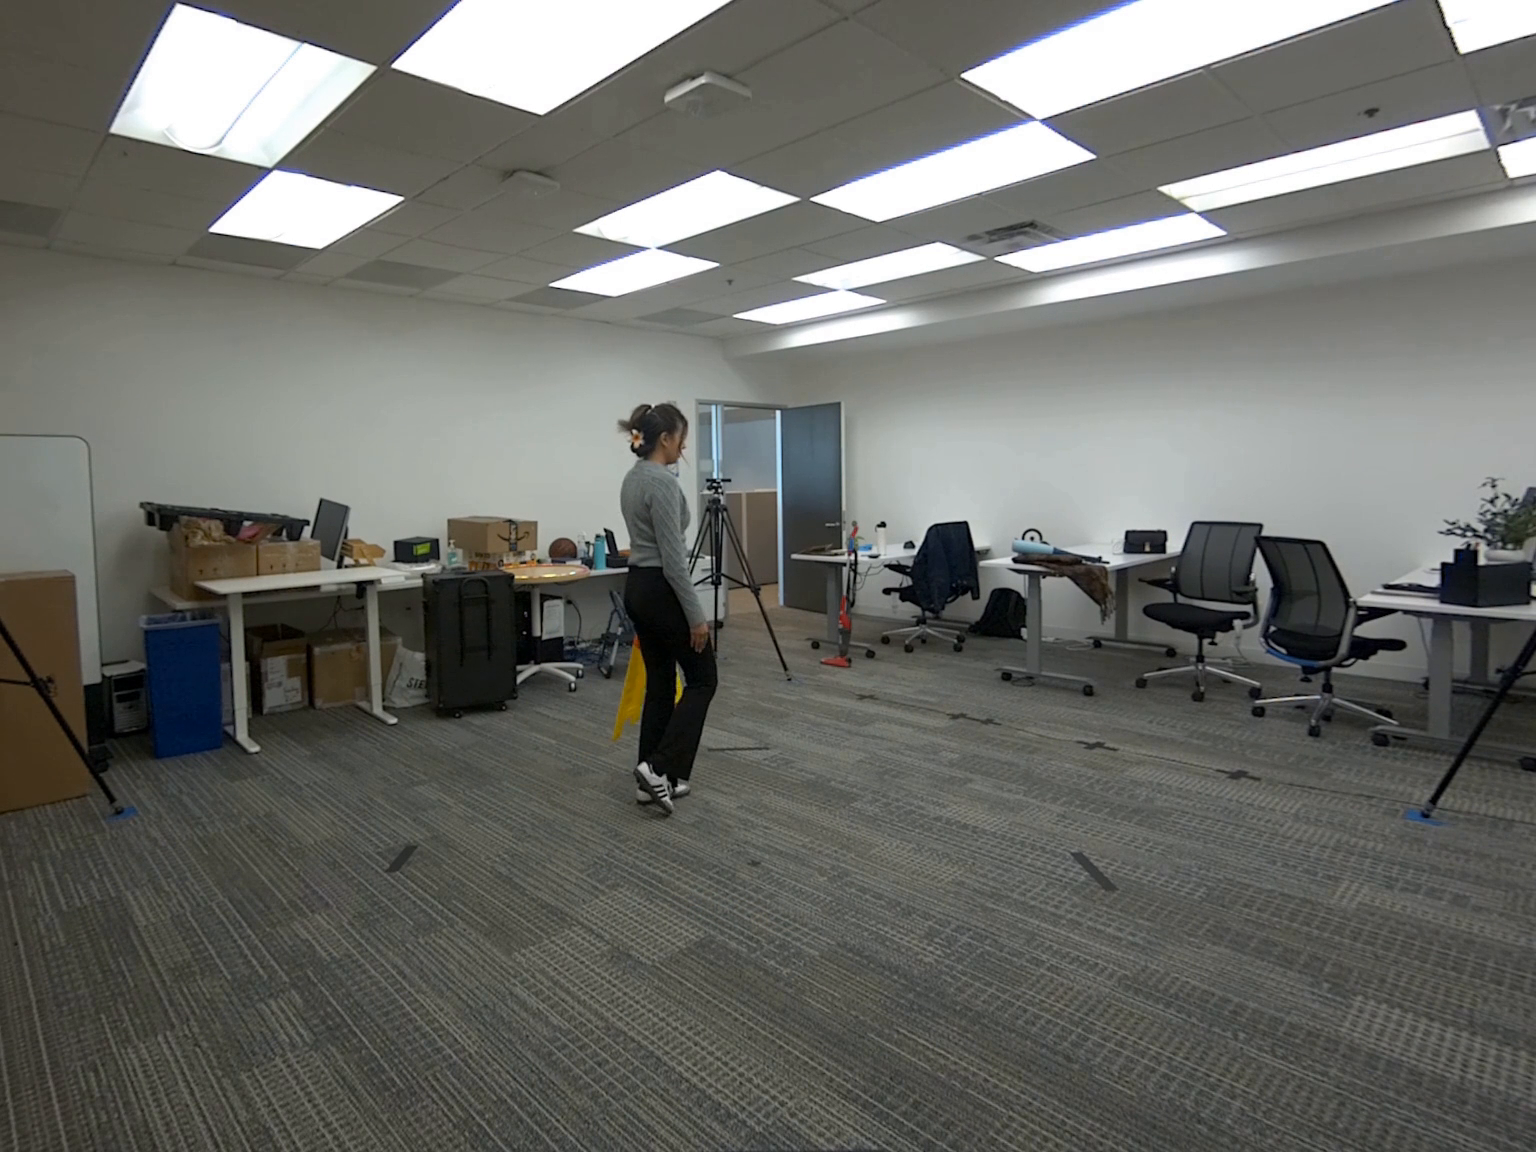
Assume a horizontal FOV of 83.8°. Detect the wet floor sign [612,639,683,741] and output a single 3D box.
[{"bbox_3d":[-0.544,0.448,4.040,0.294,0.640,0.280,5,11,15],"label":"wet floor sign"}]
